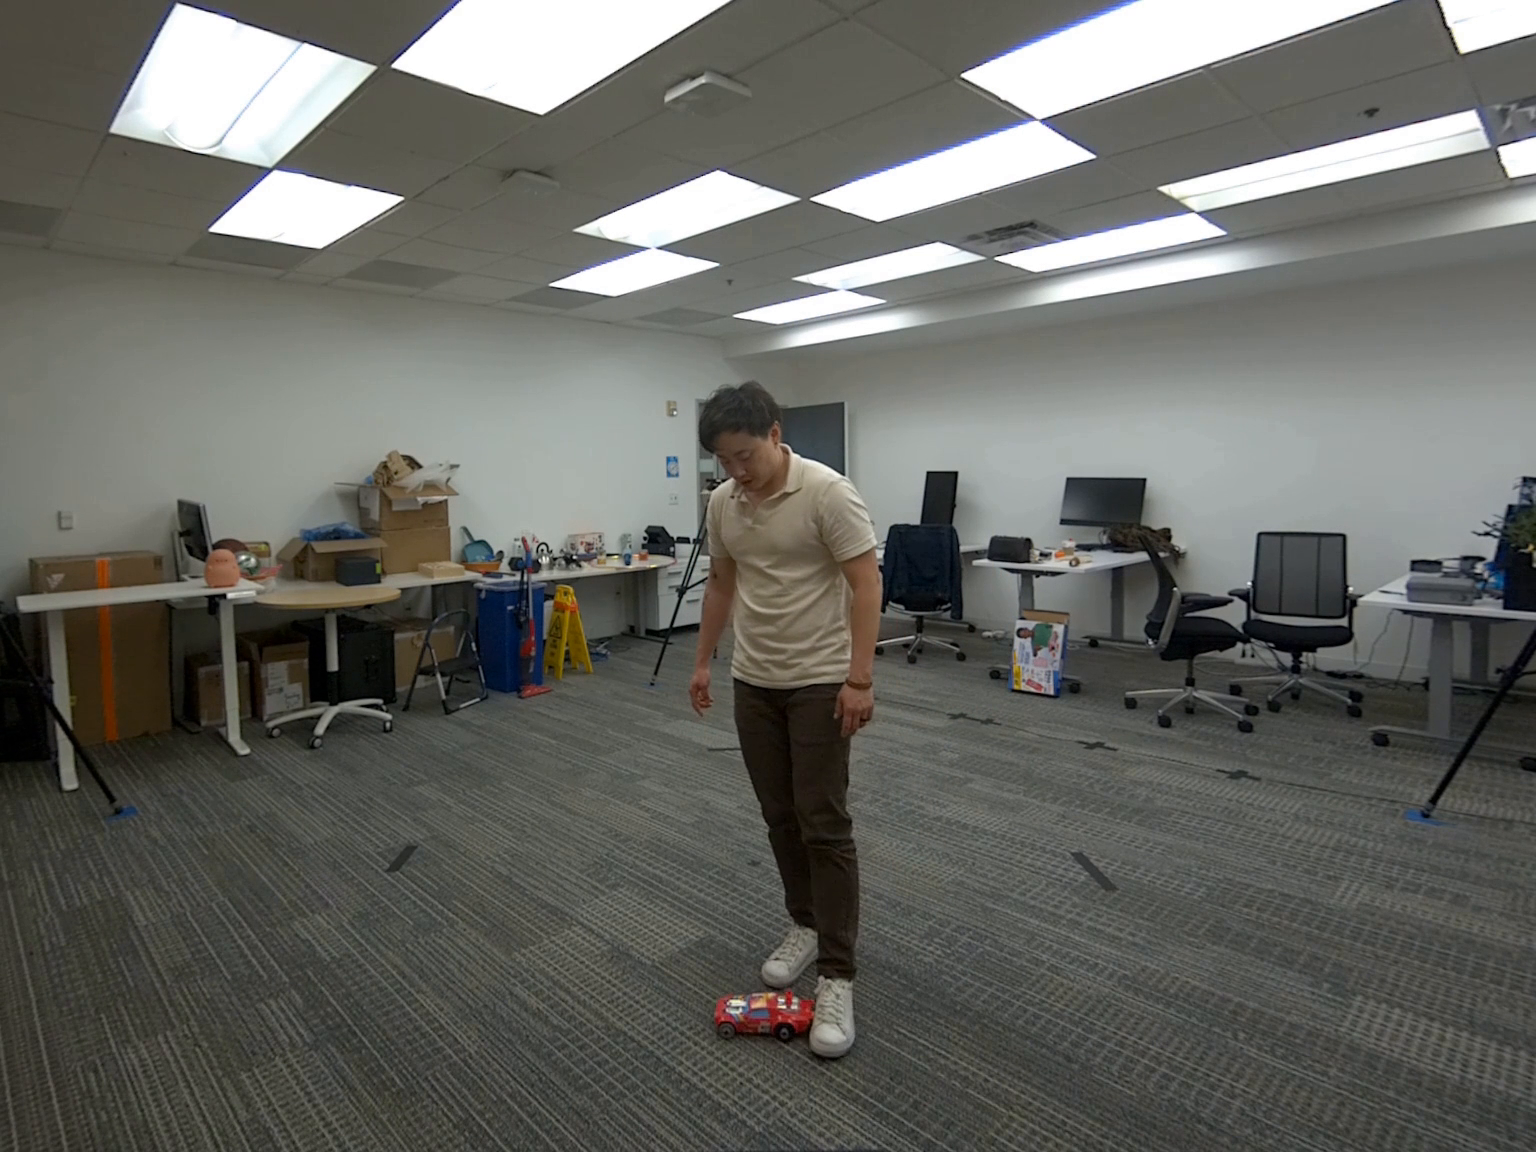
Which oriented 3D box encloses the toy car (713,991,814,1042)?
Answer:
[{"bbox_3d":[0.007,1.125,2.170,0.256,0.083,0.130,-12,3,6],"label":"toy car"}]
